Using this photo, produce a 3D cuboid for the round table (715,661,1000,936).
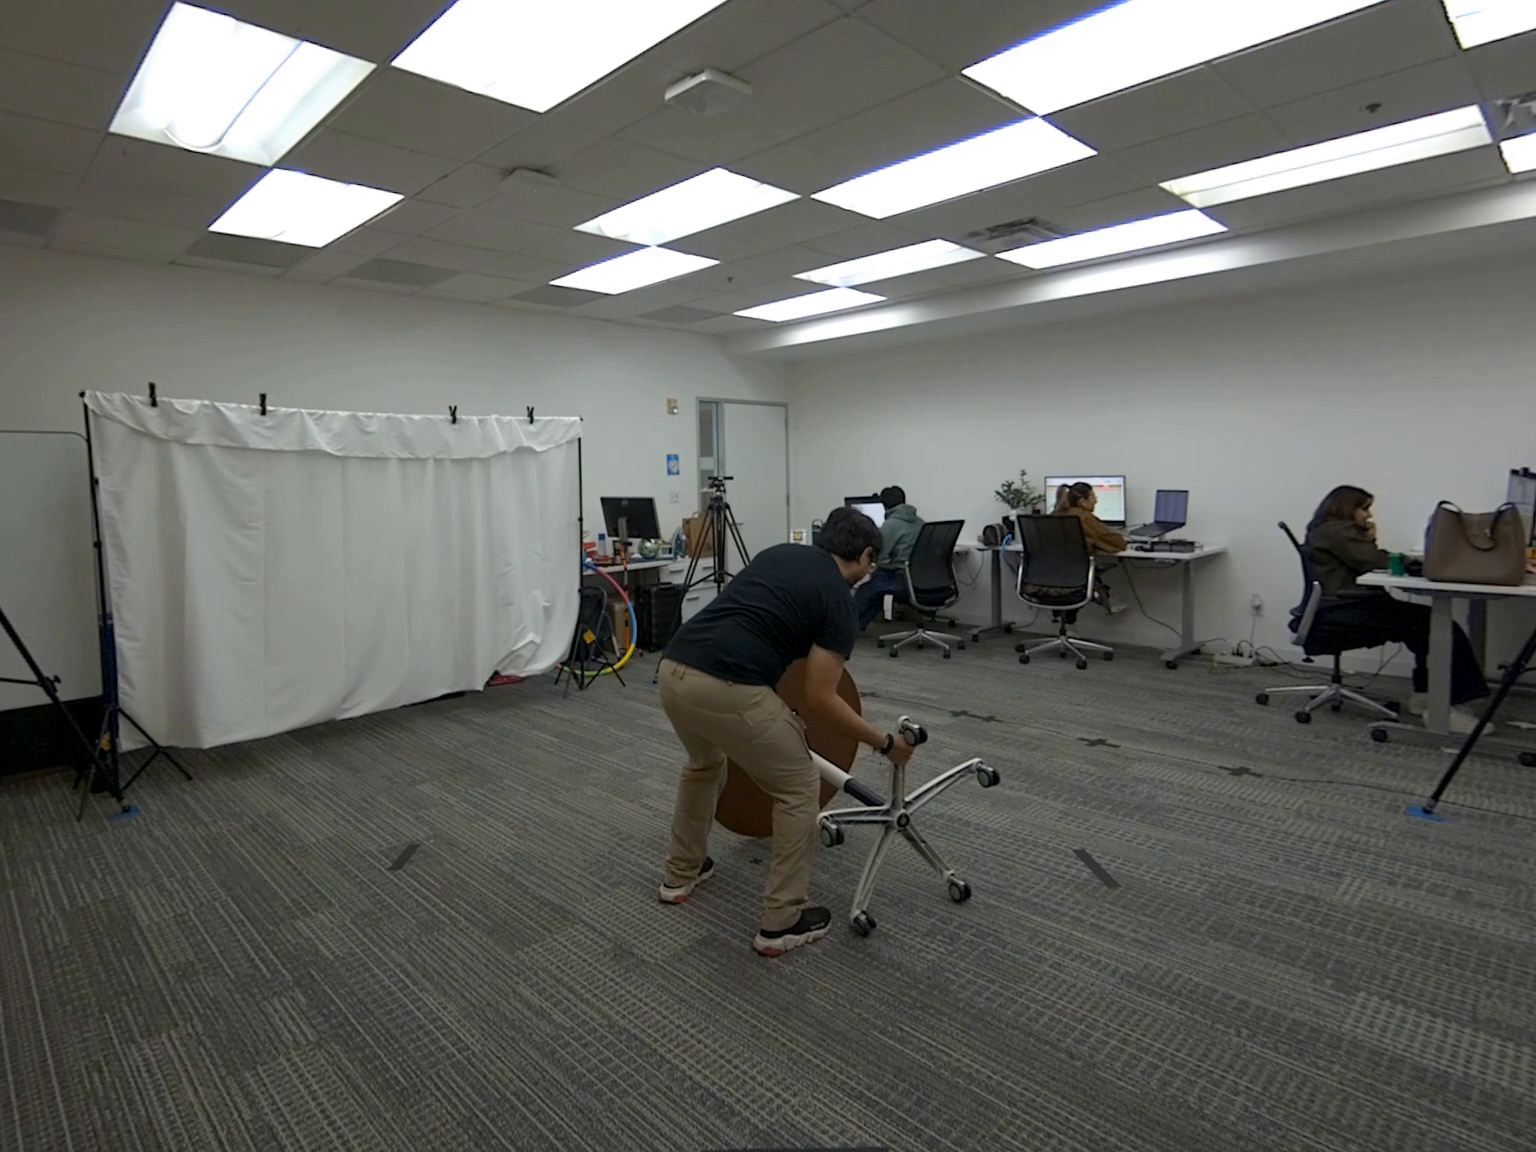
[{"bbox_3d":[0.266,0.710,2.962,0.766,0.778,0.813,-4,13,-32],"label":"round table"}]
